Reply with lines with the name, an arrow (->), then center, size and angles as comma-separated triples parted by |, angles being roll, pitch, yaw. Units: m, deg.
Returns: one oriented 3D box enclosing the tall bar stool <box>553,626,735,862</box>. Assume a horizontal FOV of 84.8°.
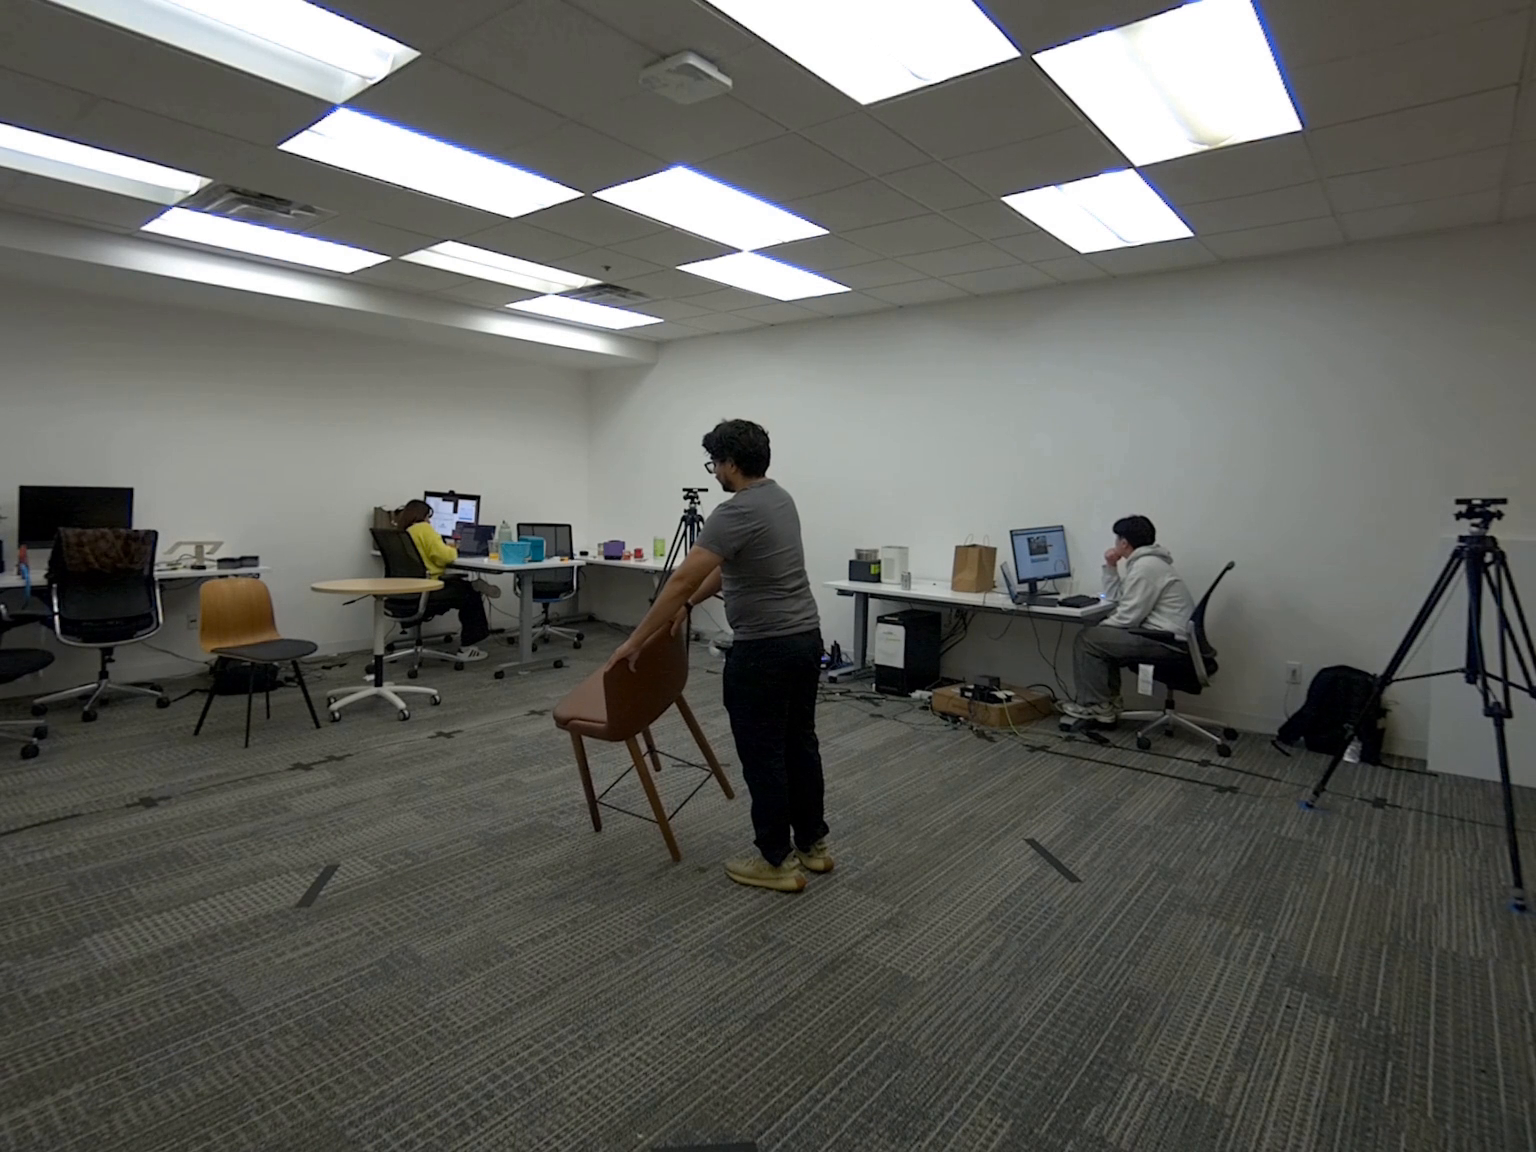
tall bar stool -> -0.520, 0.577, 3.271 | 0.484, 0.867, 0.452 | 8, 31, 38
